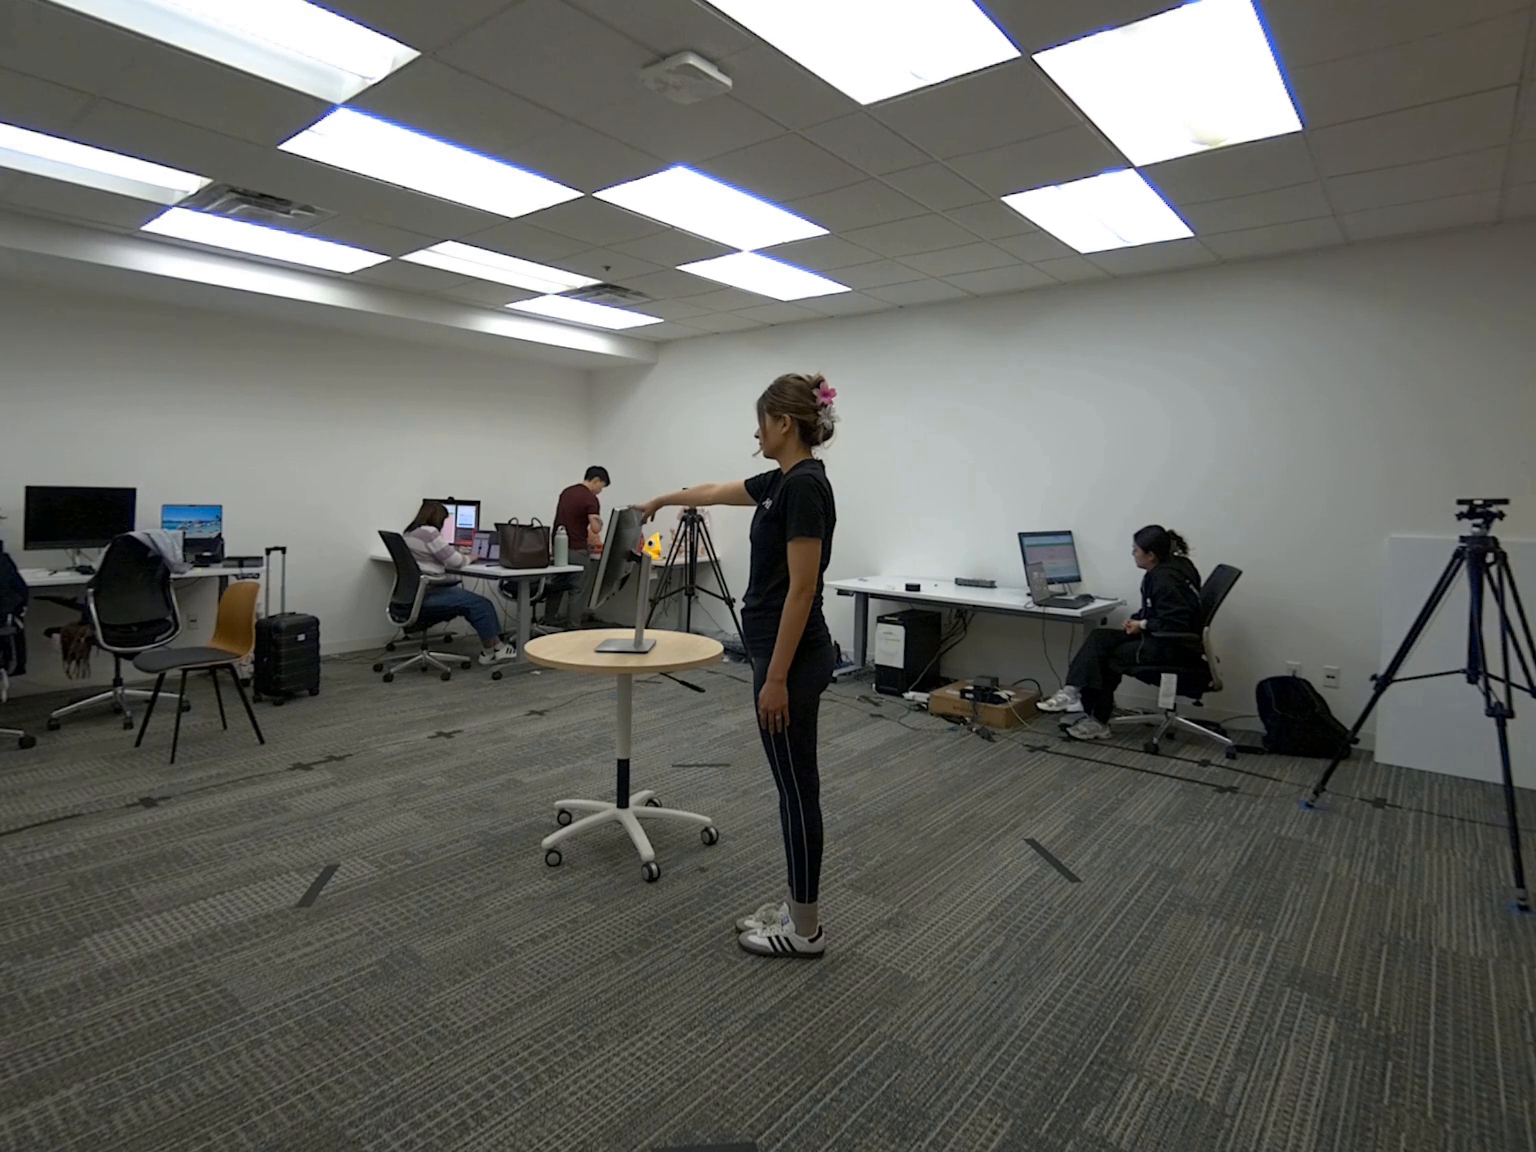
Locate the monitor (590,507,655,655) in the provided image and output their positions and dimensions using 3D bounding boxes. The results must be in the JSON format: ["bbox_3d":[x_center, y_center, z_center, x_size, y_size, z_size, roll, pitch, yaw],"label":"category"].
[{"bbox_3d":[-0.545,0.011,3.245,0.187,0.521,0.541,1,5,-1],"label":"monitor"}]
